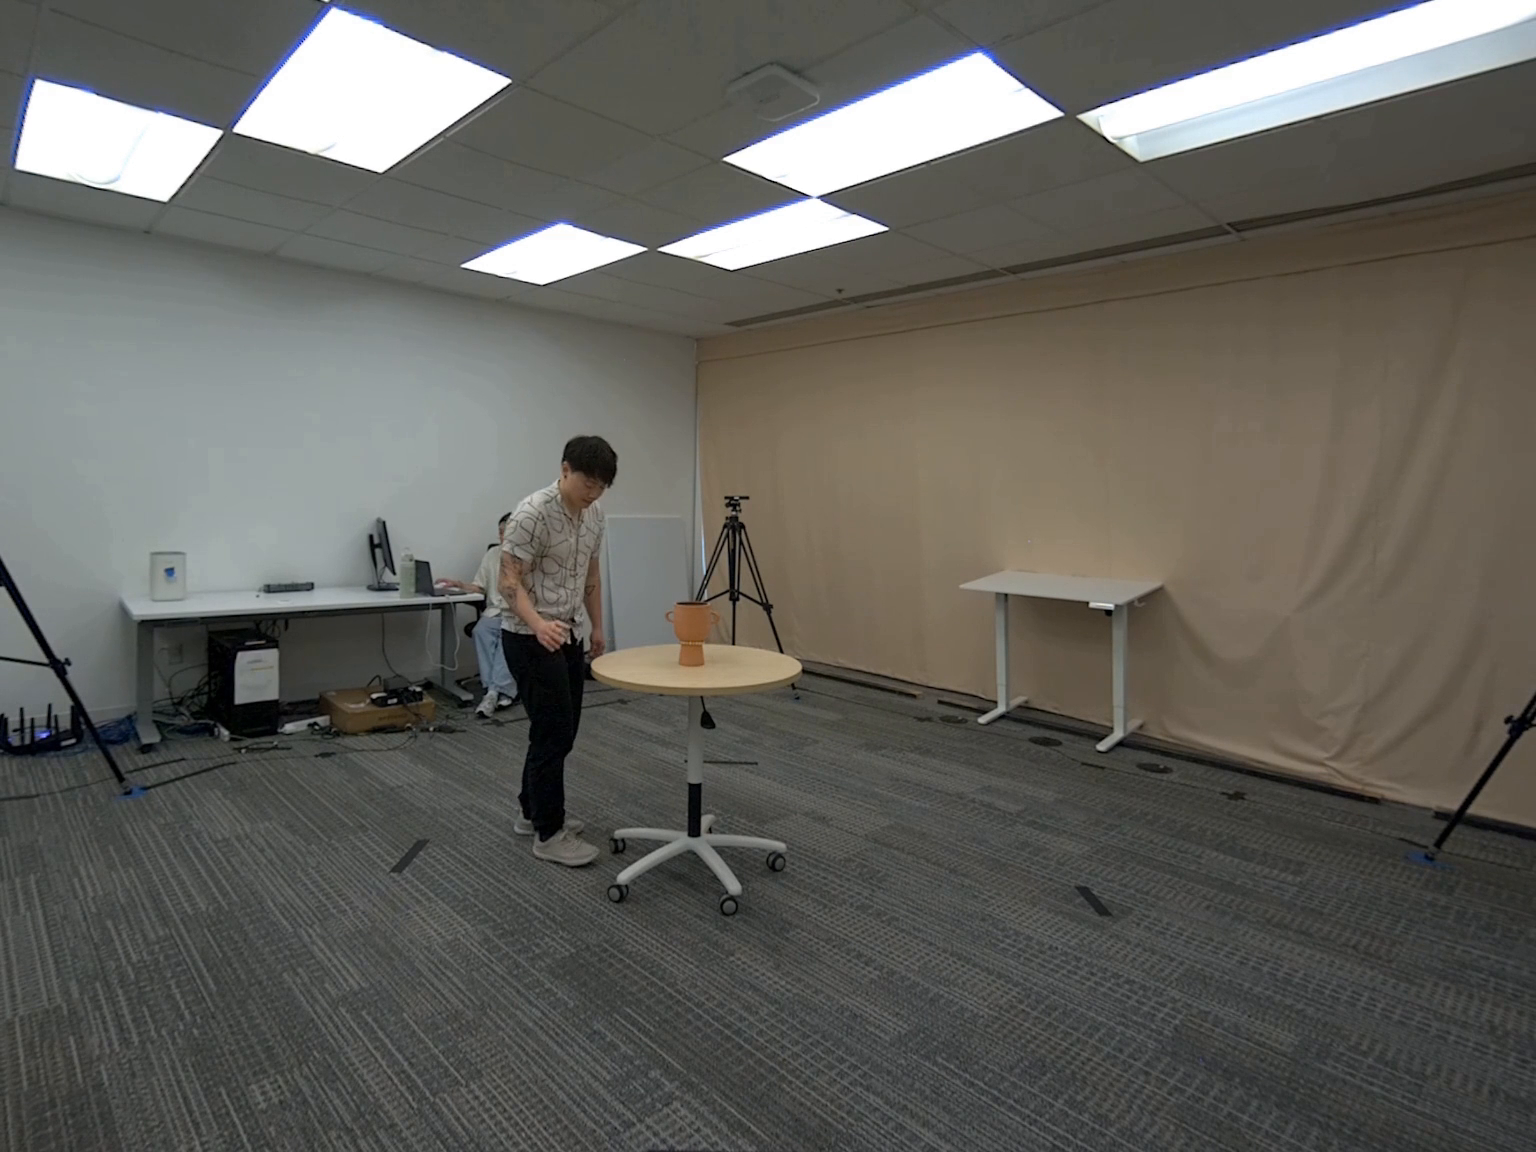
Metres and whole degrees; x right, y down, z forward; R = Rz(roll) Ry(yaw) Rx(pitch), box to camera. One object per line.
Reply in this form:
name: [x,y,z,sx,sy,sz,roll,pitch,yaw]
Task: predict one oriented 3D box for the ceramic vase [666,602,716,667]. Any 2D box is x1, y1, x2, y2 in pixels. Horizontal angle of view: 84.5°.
ceramic vase: [-0.285,0.214,3.059,0.163,0.219,0.131,6,6,43]
